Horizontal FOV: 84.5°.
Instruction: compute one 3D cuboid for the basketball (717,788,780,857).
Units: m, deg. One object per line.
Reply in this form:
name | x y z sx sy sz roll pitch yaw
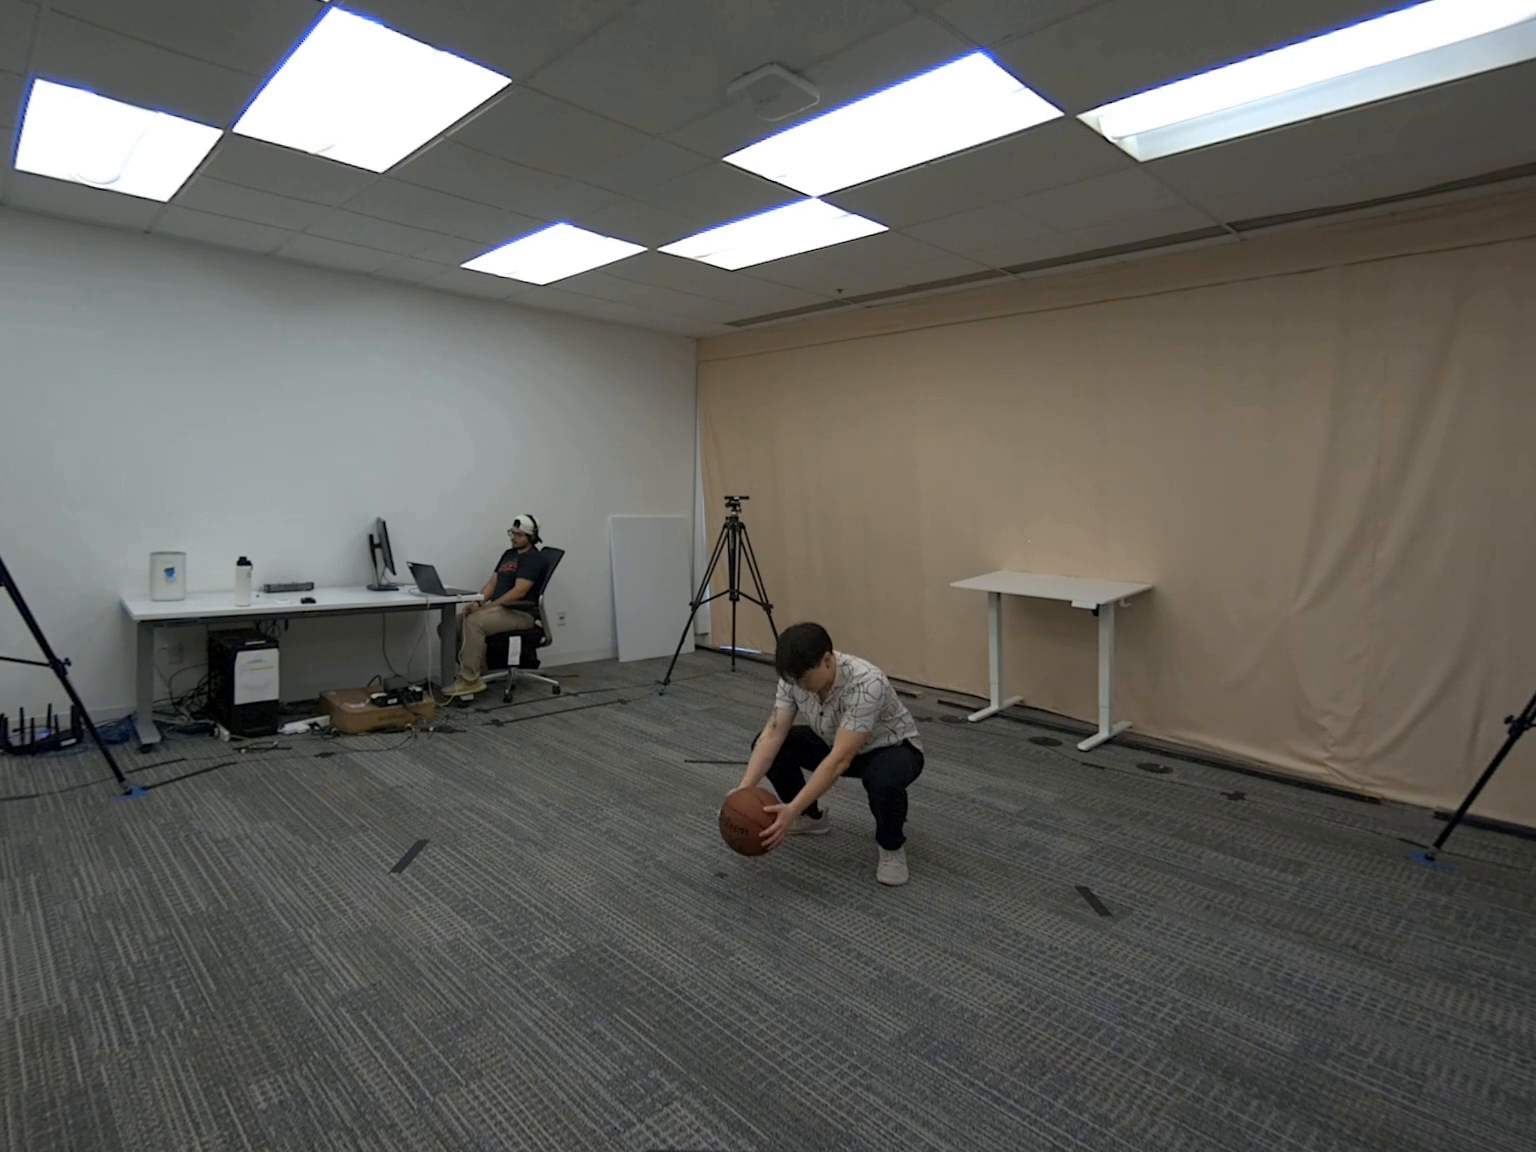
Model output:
basketball | -0.059 0.865 3.019 0.236 0.235 0.237 1 4 -1
